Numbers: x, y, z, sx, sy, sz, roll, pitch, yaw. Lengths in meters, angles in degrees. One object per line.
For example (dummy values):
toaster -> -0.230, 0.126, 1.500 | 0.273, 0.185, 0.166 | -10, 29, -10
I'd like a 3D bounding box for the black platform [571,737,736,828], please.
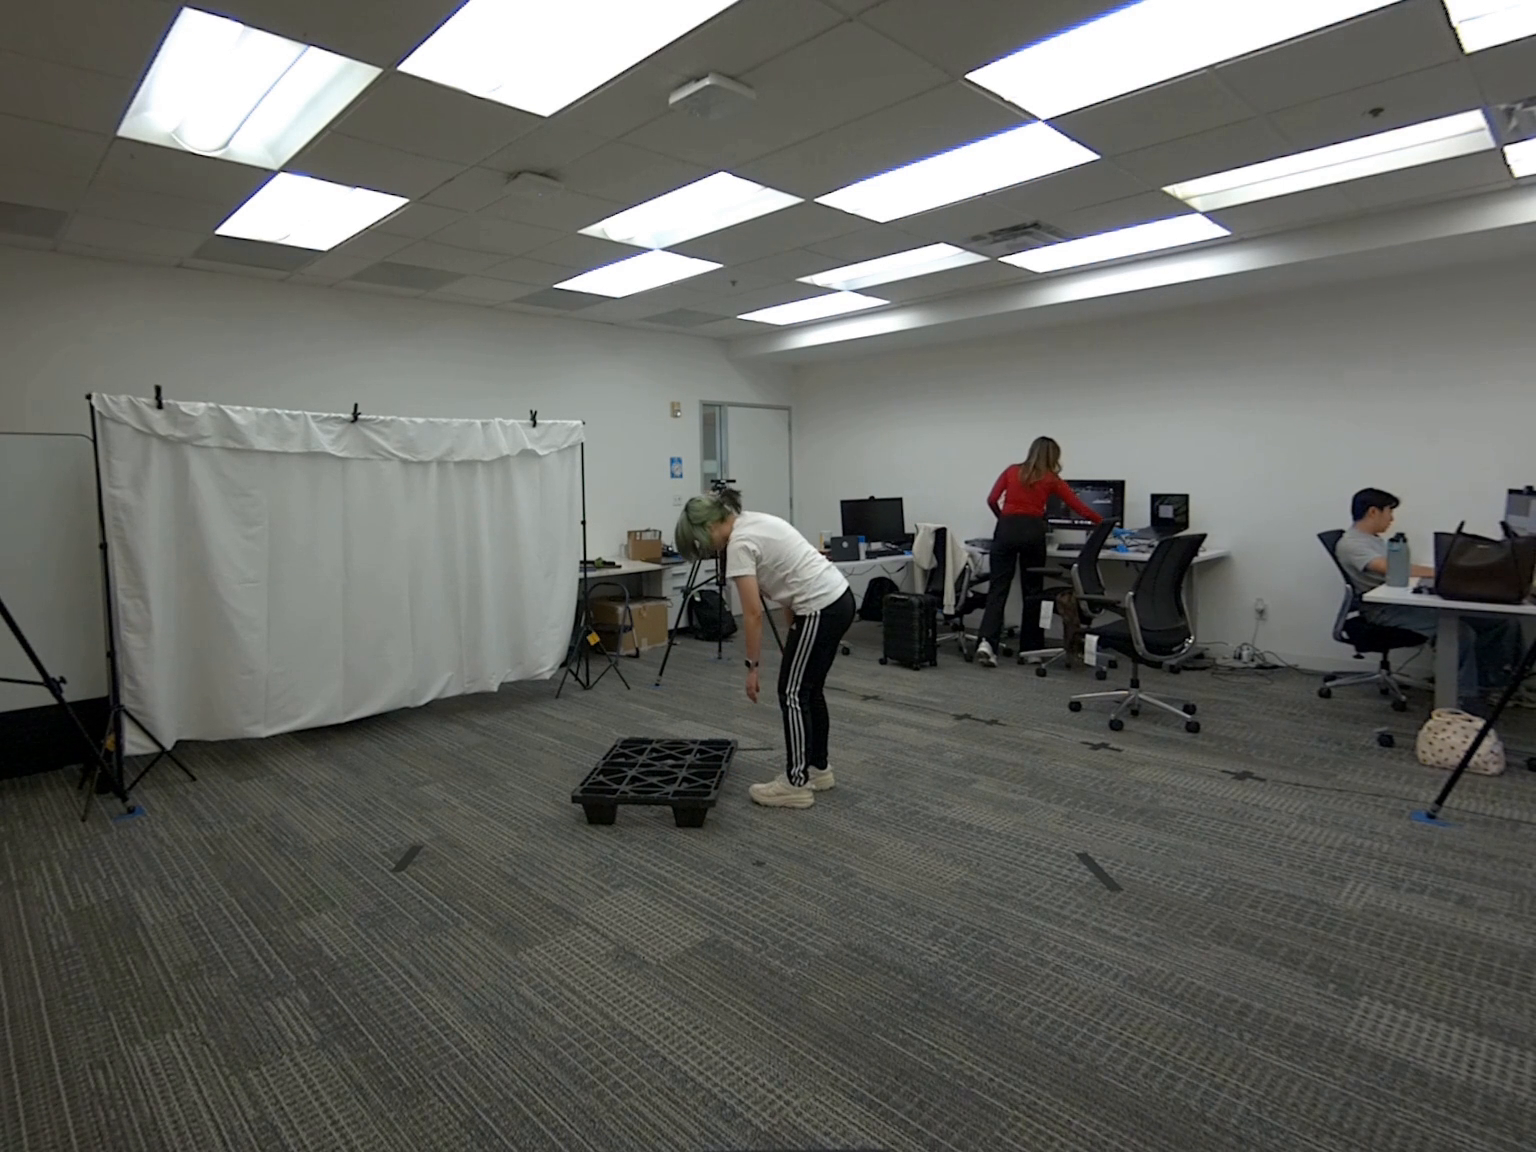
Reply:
black platform -> -0.473, 0.907, 3.823 | 0.609, 0.143, 0.804 | -2, 6, 6
